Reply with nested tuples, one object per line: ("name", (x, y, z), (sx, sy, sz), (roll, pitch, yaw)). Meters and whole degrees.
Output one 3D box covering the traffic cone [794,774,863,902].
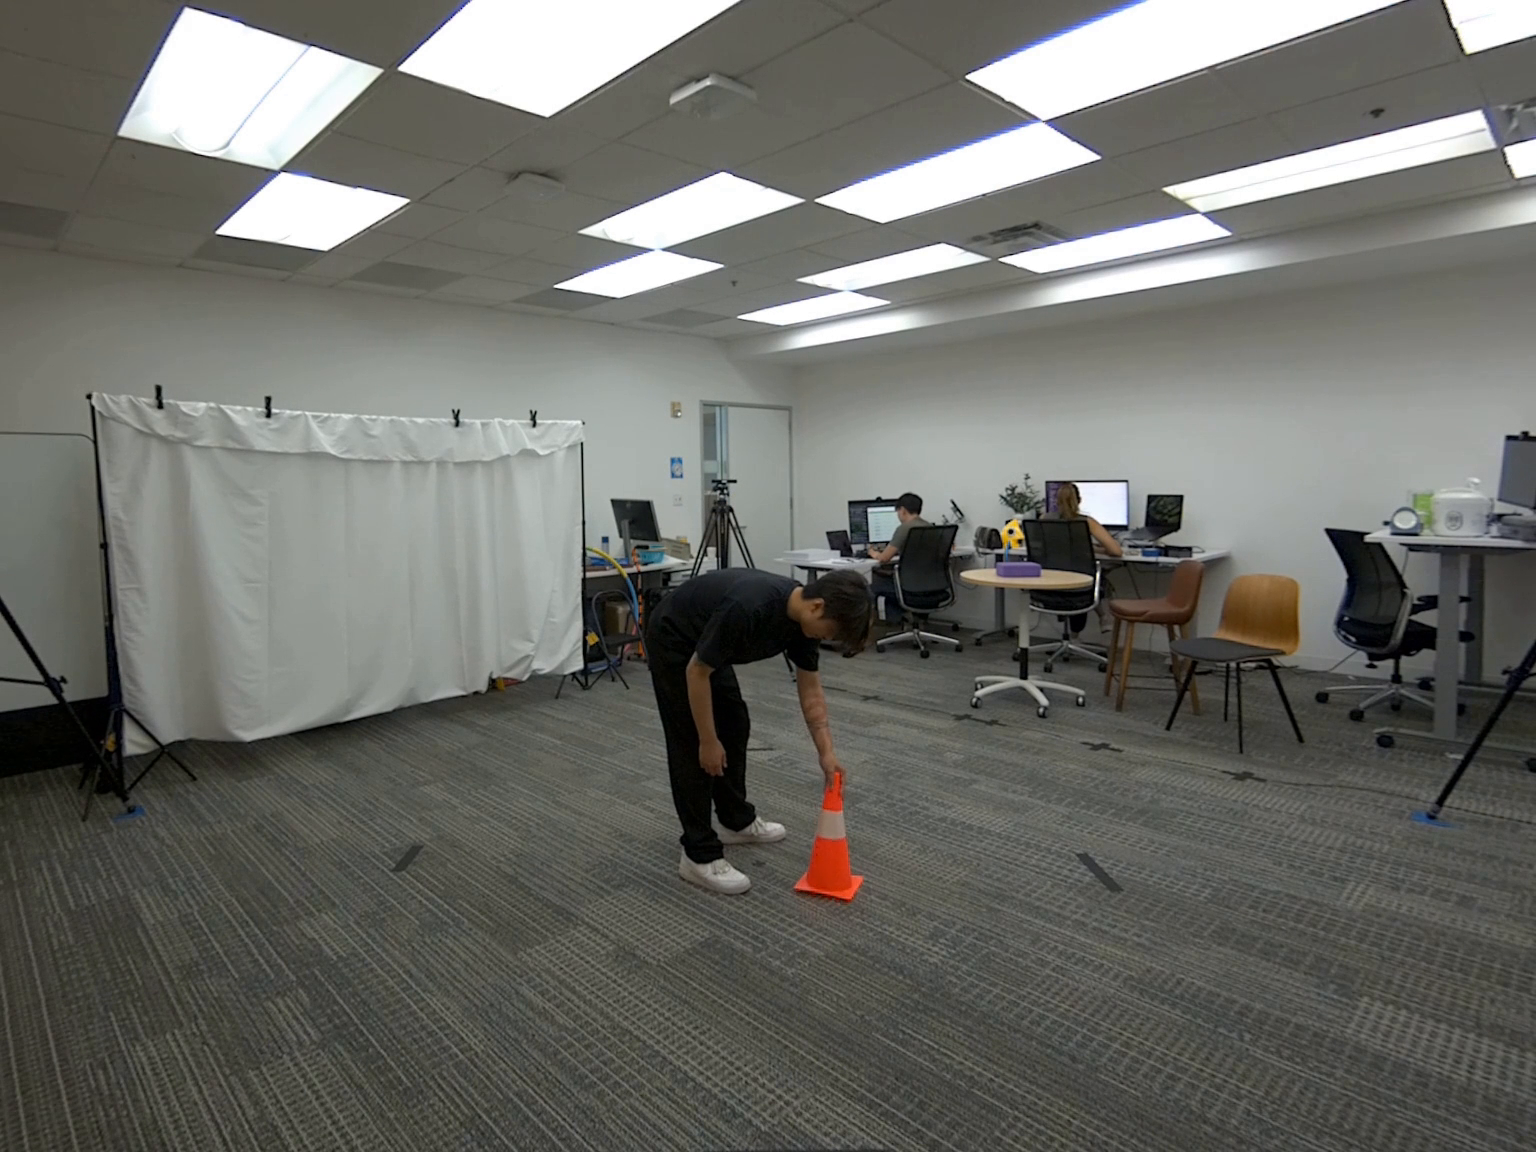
("traffic cone", (0.215, 0.867, 2.931), (0.208, 0.384, 0.200), (1, 0, 23))
